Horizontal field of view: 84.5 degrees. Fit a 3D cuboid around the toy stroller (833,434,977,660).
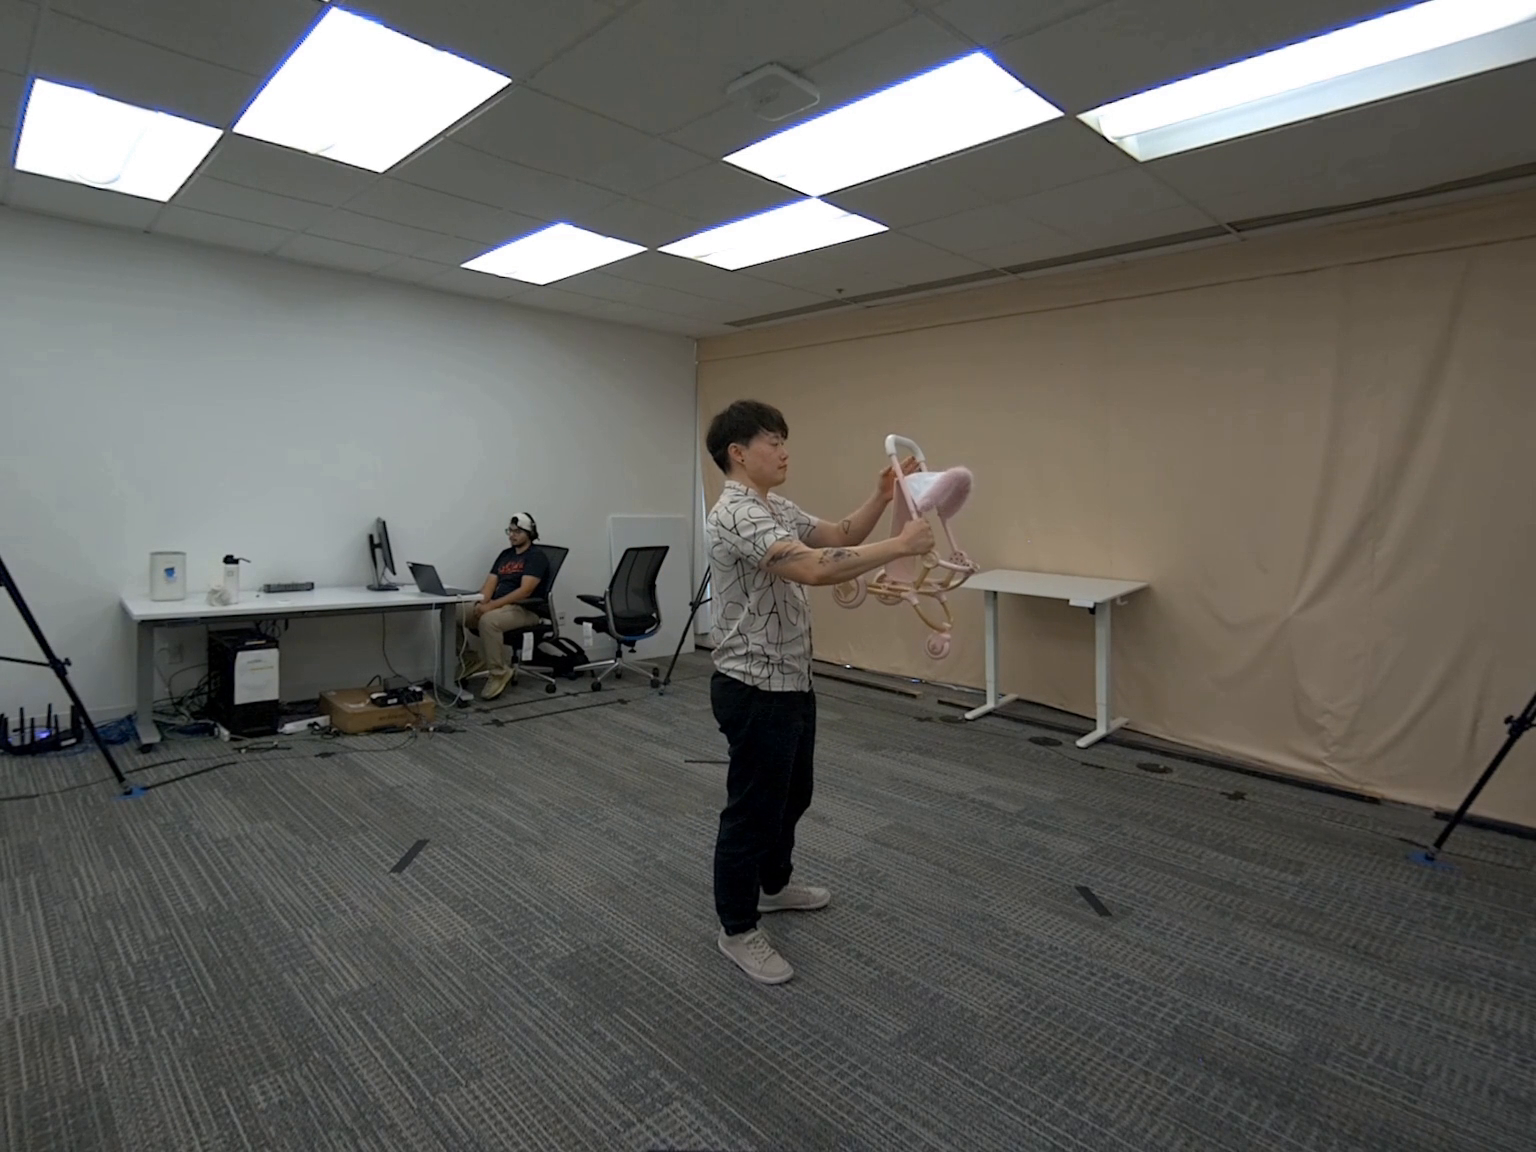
[{"bbox_3d":[0.406,-0.075,2.272,0.352,0.532,0.274,24,12,38],"label":"toy stroller"}]
